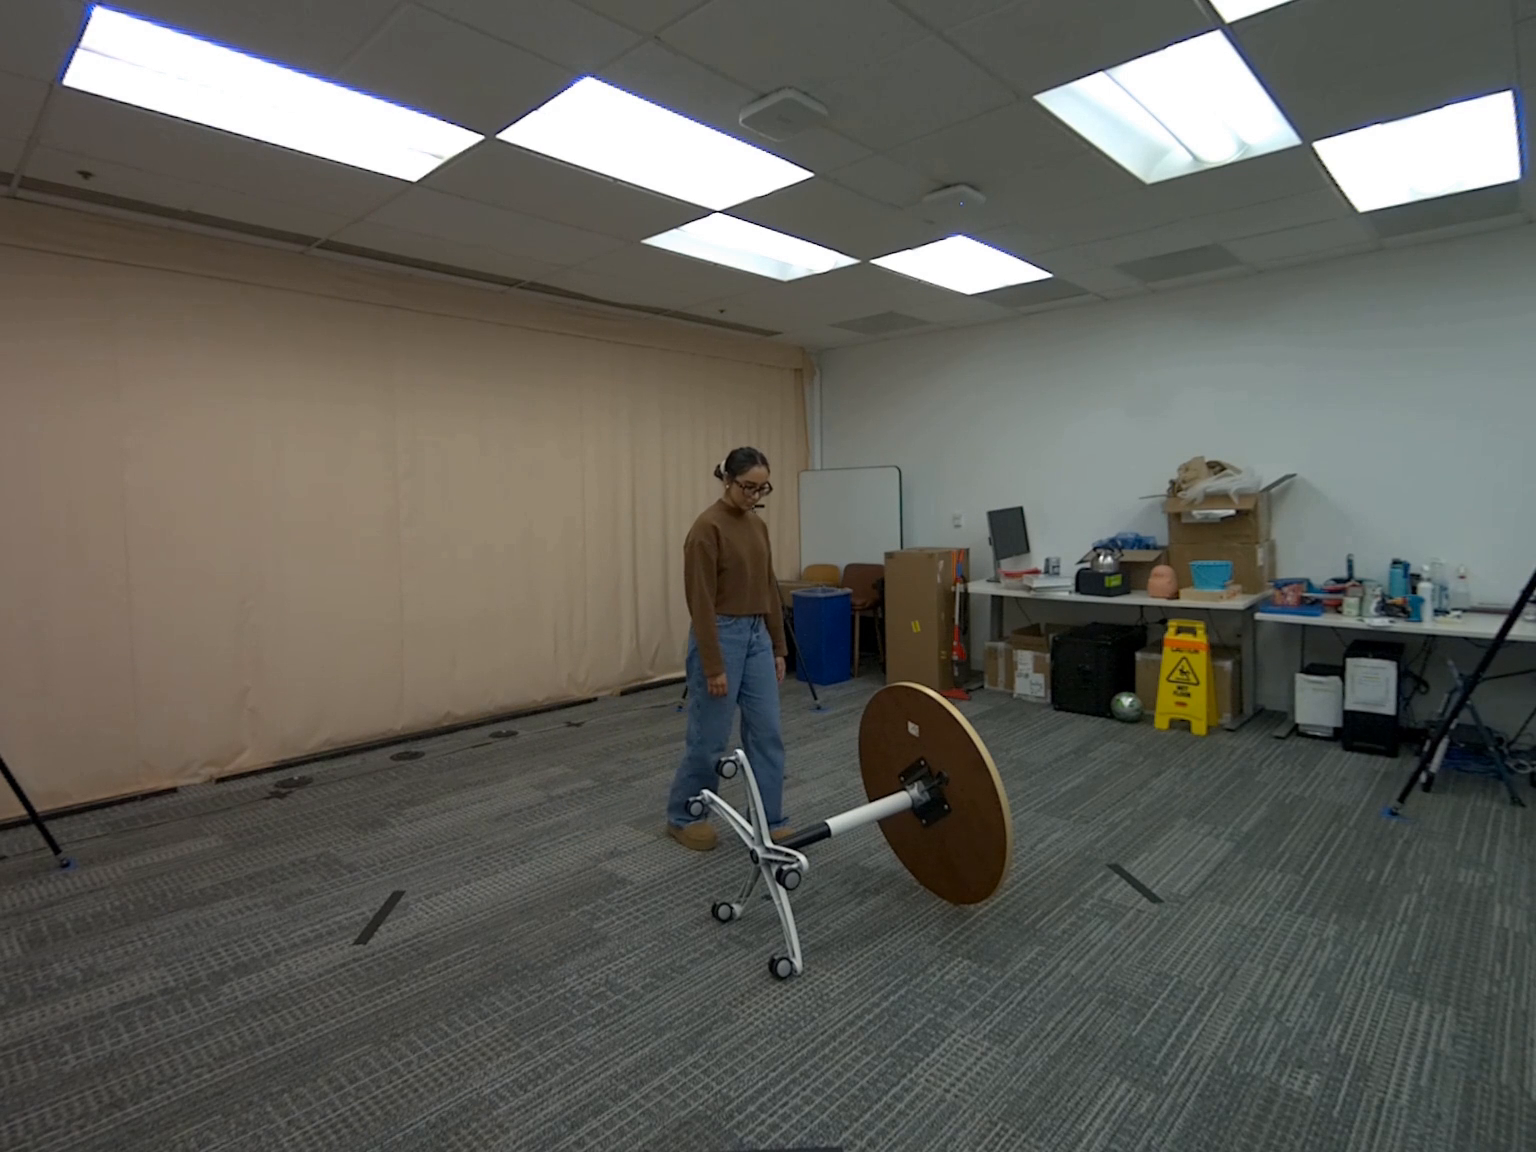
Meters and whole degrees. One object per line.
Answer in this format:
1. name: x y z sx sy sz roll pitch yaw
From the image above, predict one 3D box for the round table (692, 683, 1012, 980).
1. round table: 0.234 0.818 2.777 0.776 0.760 0.785 -12 8 -27
